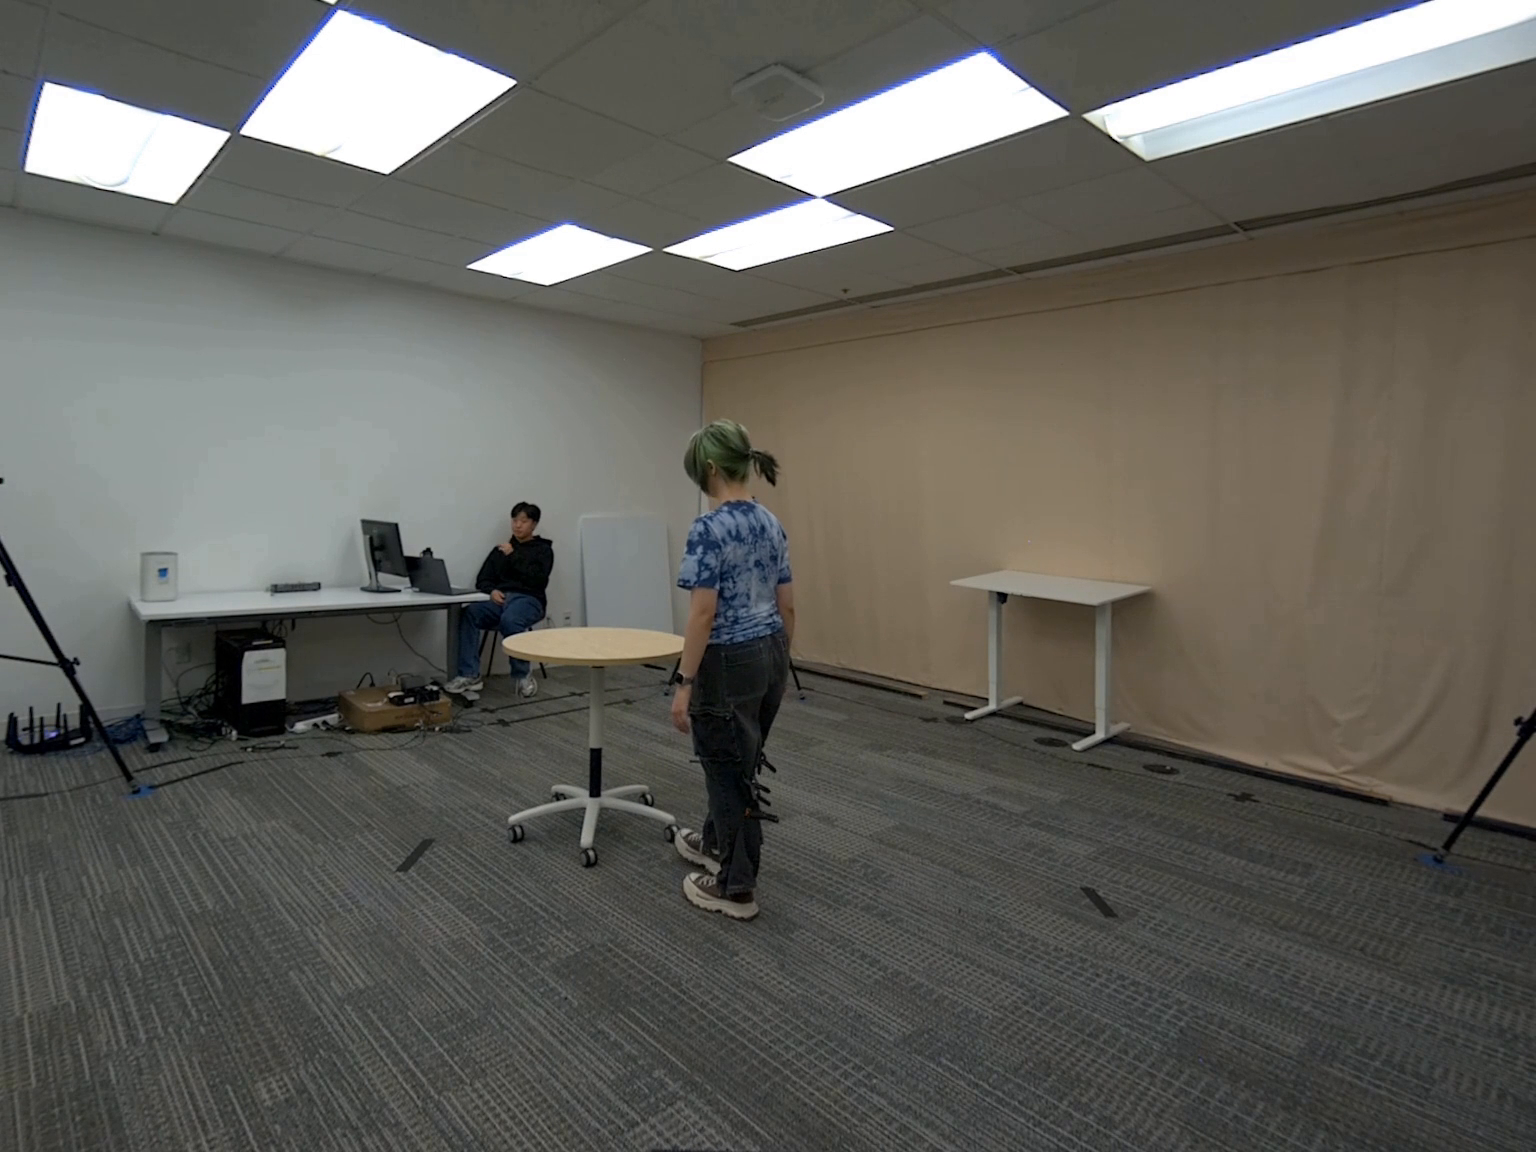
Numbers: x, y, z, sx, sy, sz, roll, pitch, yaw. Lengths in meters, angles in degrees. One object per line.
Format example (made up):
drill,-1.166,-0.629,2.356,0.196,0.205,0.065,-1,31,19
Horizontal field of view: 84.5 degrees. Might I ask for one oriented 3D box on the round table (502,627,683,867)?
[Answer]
round table,-0.721,0.667,3.490,0.763,0.792,0.766,1,4,-1
